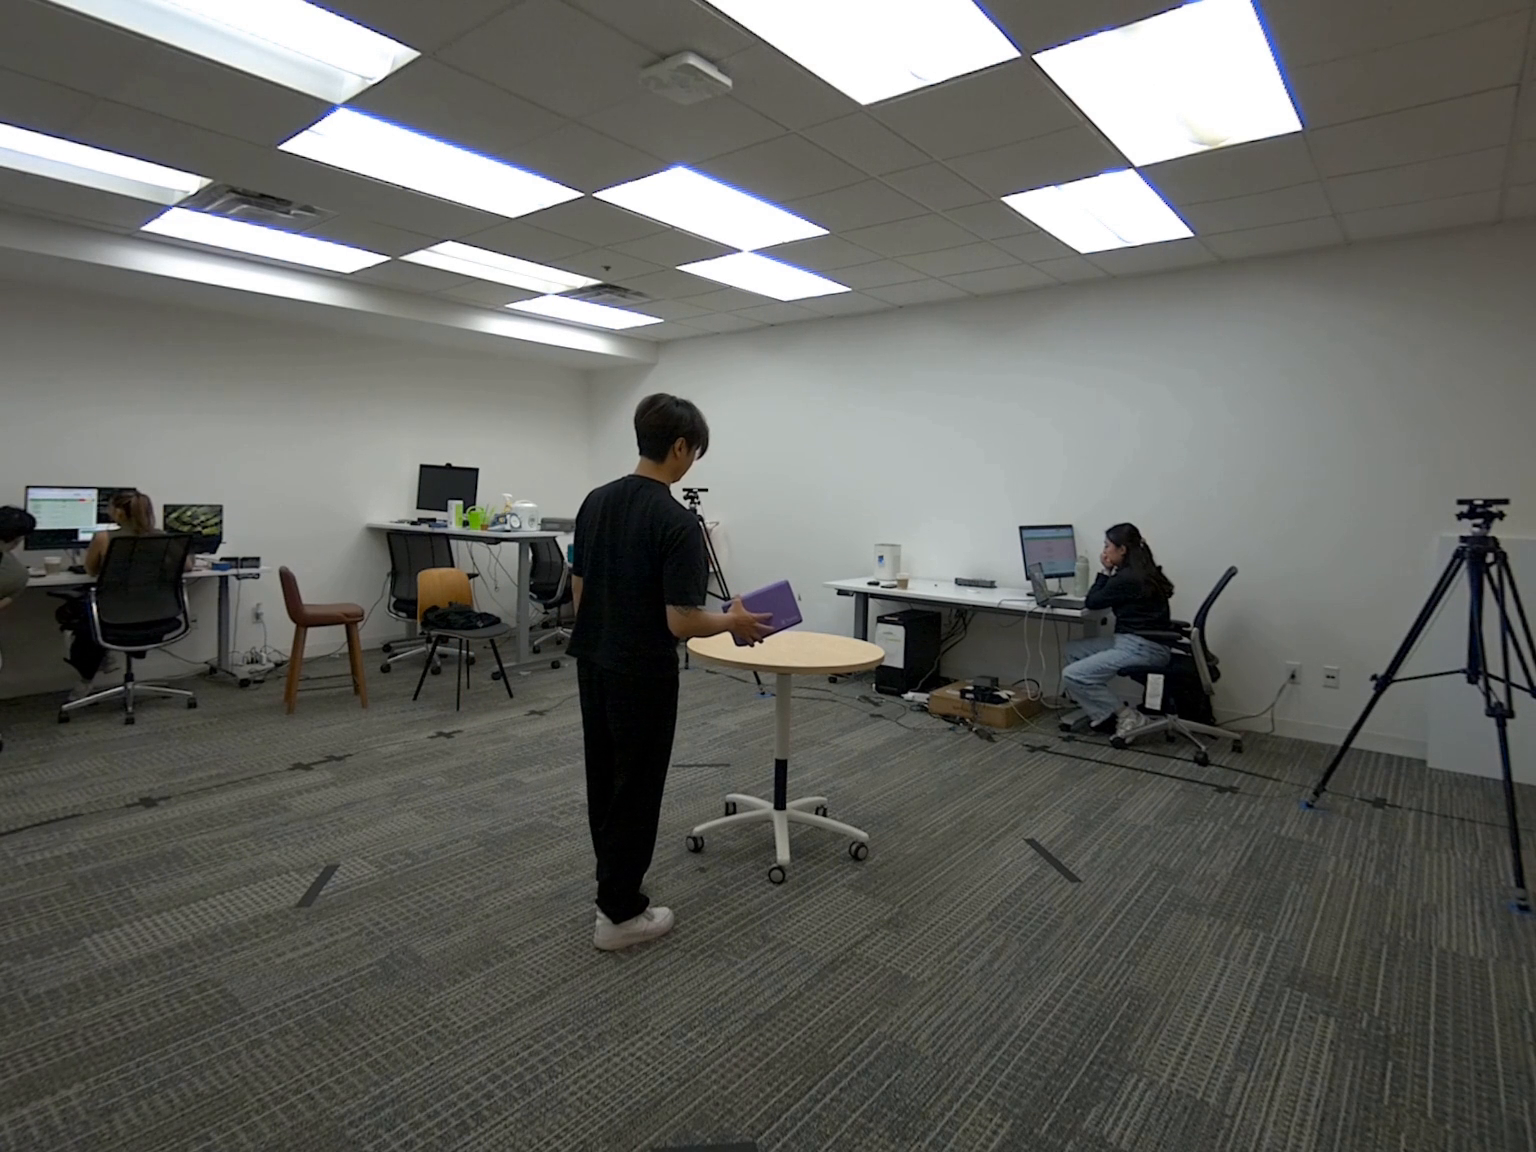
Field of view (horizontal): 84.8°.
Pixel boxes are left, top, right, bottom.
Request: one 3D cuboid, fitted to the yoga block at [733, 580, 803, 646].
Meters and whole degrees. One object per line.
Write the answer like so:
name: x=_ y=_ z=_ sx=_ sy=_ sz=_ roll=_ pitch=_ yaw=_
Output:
yoga block: x=-0.031 y=0.118 z=2.734 sx=0.227 sy=0.149 sz=0.077 roll=-18 pitch=-2 yaw=-15
